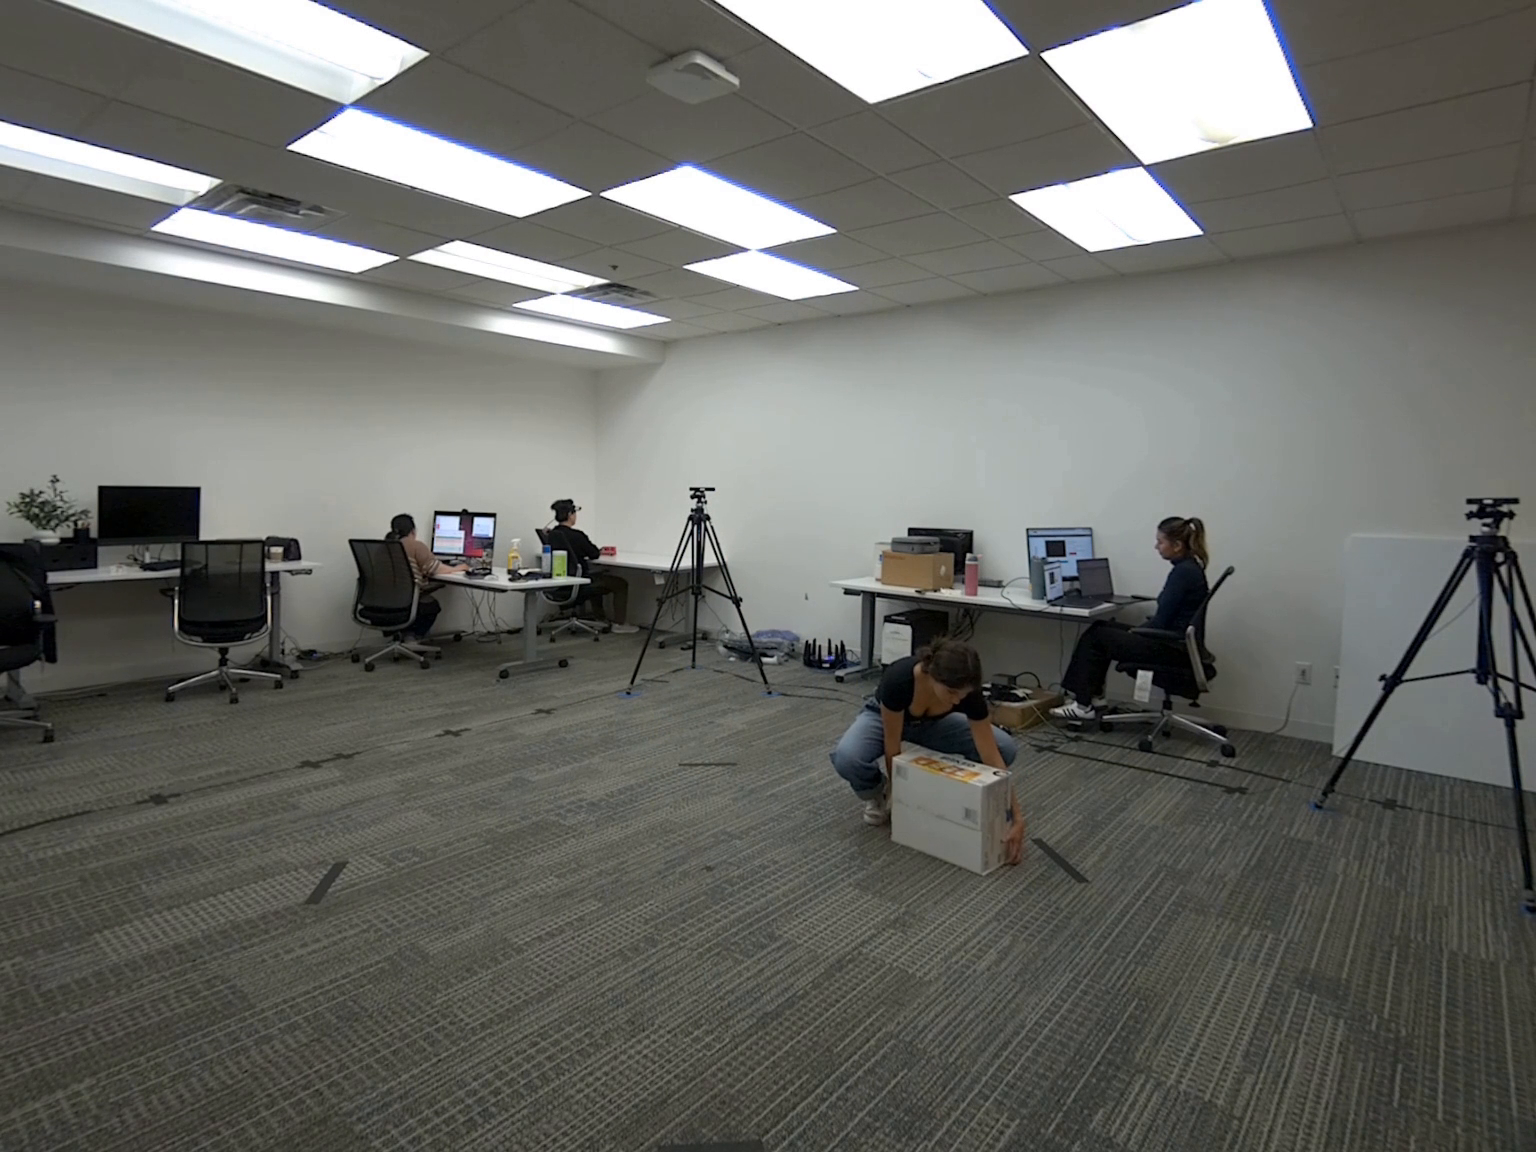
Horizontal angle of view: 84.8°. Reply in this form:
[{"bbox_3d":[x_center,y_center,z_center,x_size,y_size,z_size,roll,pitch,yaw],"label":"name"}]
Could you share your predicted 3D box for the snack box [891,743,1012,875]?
[{"bbox_3d":[0.703,0.895,3.305,0.200,0.339,0.419,-5,7,-44],"label":"snack box"}]
